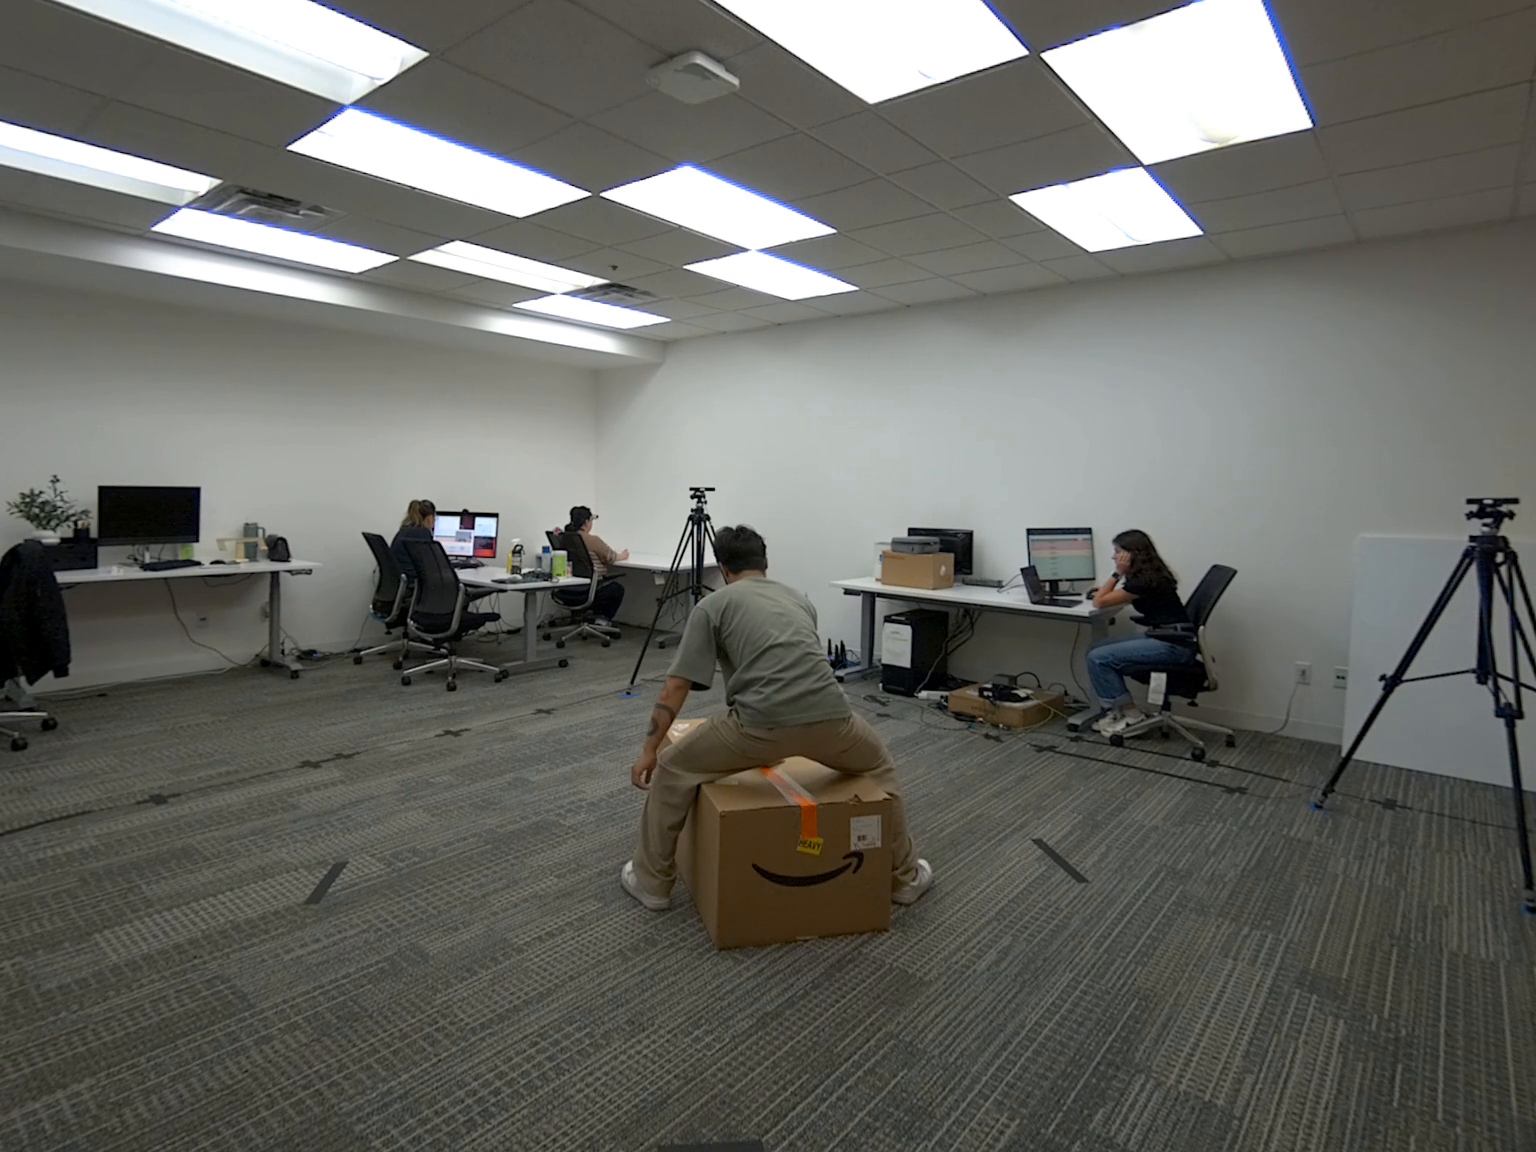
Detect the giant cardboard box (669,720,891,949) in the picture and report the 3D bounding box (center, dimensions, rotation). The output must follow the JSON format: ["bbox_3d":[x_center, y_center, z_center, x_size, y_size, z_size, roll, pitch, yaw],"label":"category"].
[{"bbox_3d":[-0.043,0.861,3.103,0.568,0.424,1.047,-1,6,-17],"label":"giant cardboard box"}]
